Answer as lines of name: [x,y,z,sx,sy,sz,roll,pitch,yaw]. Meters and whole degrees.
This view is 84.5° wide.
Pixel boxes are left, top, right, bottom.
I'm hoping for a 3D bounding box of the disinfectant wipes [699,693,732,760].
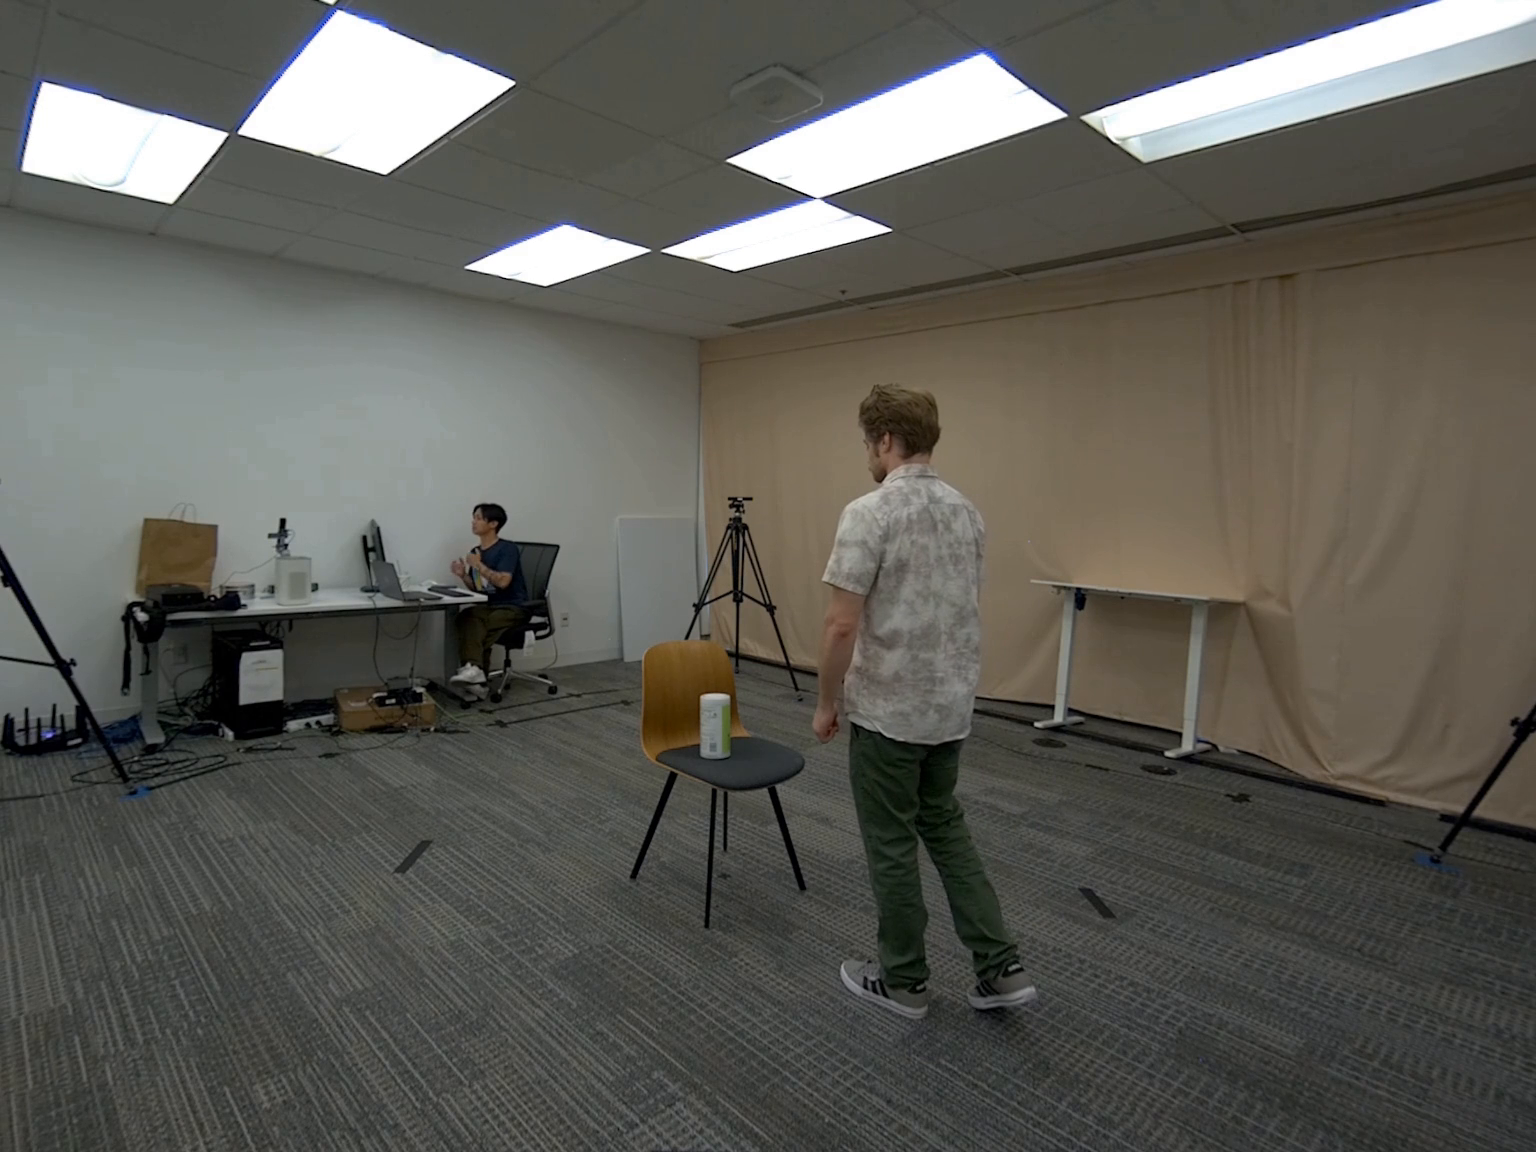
disinfectant wipes: [-0.205,0.538,3.003,0.118,0.217,0.118,2,0,-1]
